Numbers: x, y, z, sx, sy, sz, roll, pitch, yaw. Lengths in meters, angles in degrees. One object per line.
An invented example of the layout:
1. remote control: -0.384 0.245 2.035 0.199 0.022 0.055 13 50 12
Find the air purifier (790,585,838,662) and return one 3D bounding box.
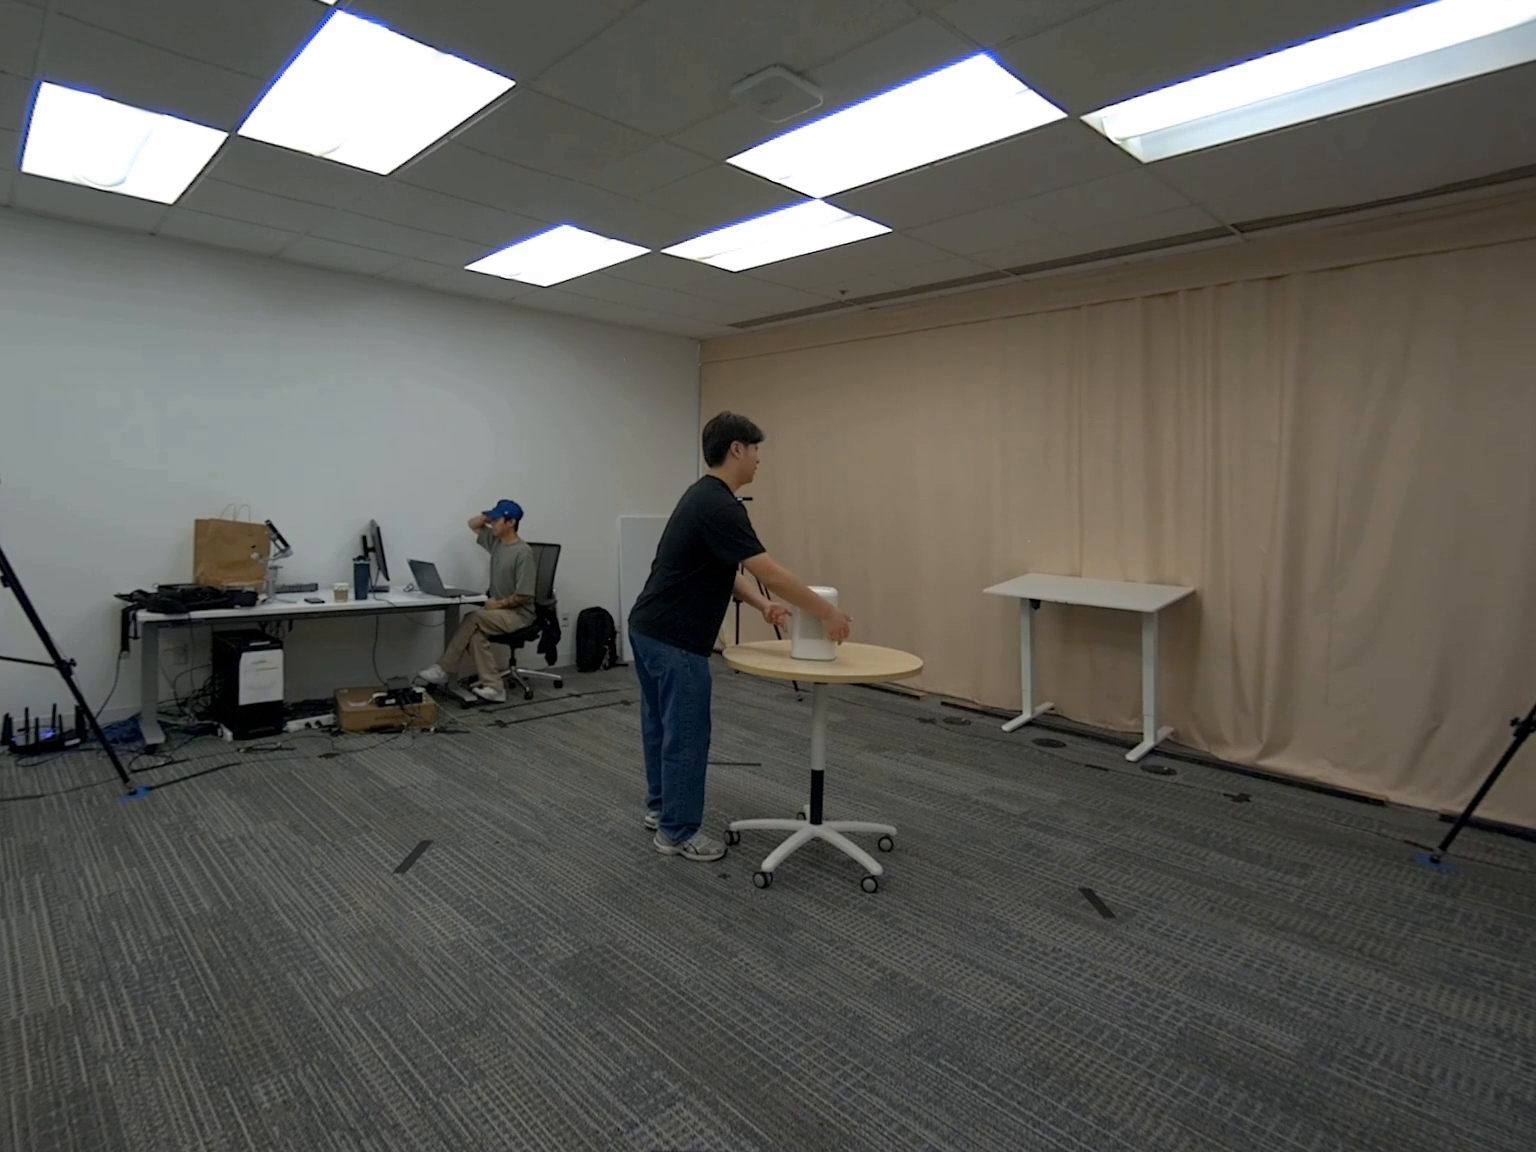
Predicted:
1. air purifier: 0.166 0.177 3.216 0.173 0.265 0.170 1 3 7
